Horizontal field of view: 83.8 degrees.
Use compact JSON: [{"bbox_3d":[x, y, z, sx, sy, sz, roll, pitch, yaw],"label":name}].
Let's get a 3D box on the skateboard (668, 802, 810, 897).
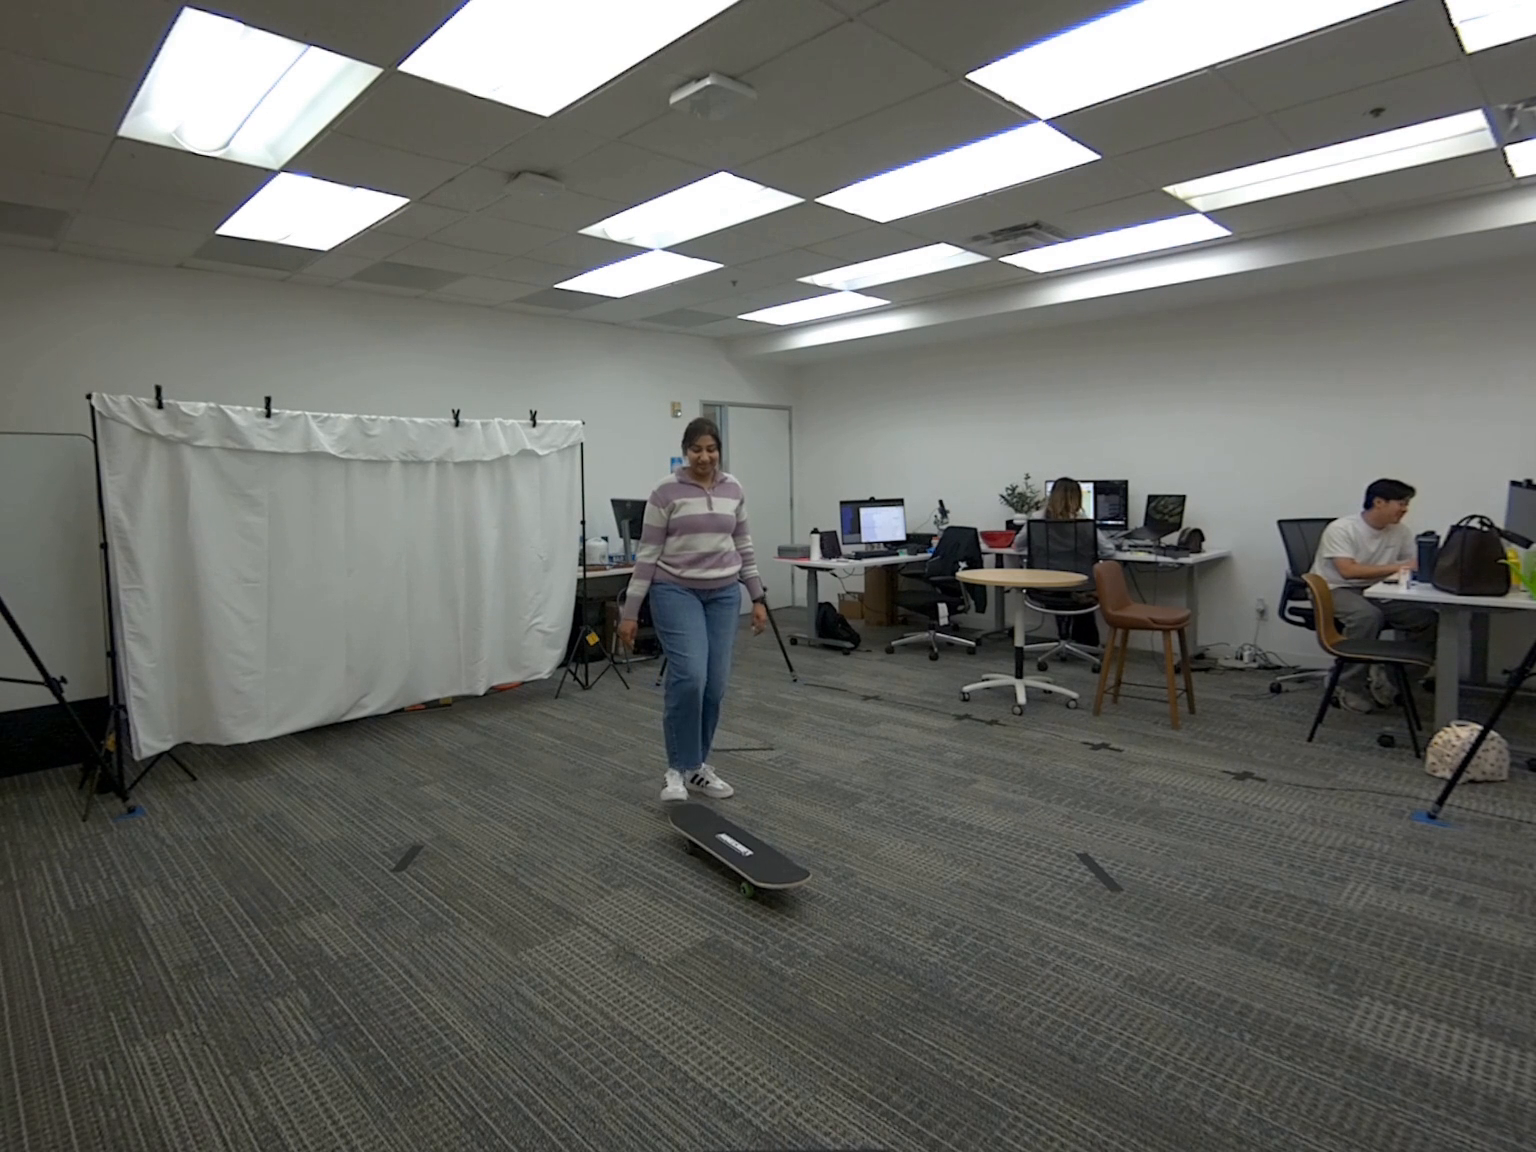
[{"bbox_3d":[-0.122,0.998,3.068,0.189,0.110,0.809,-6,8,-34],"label":"skateboard"}]
